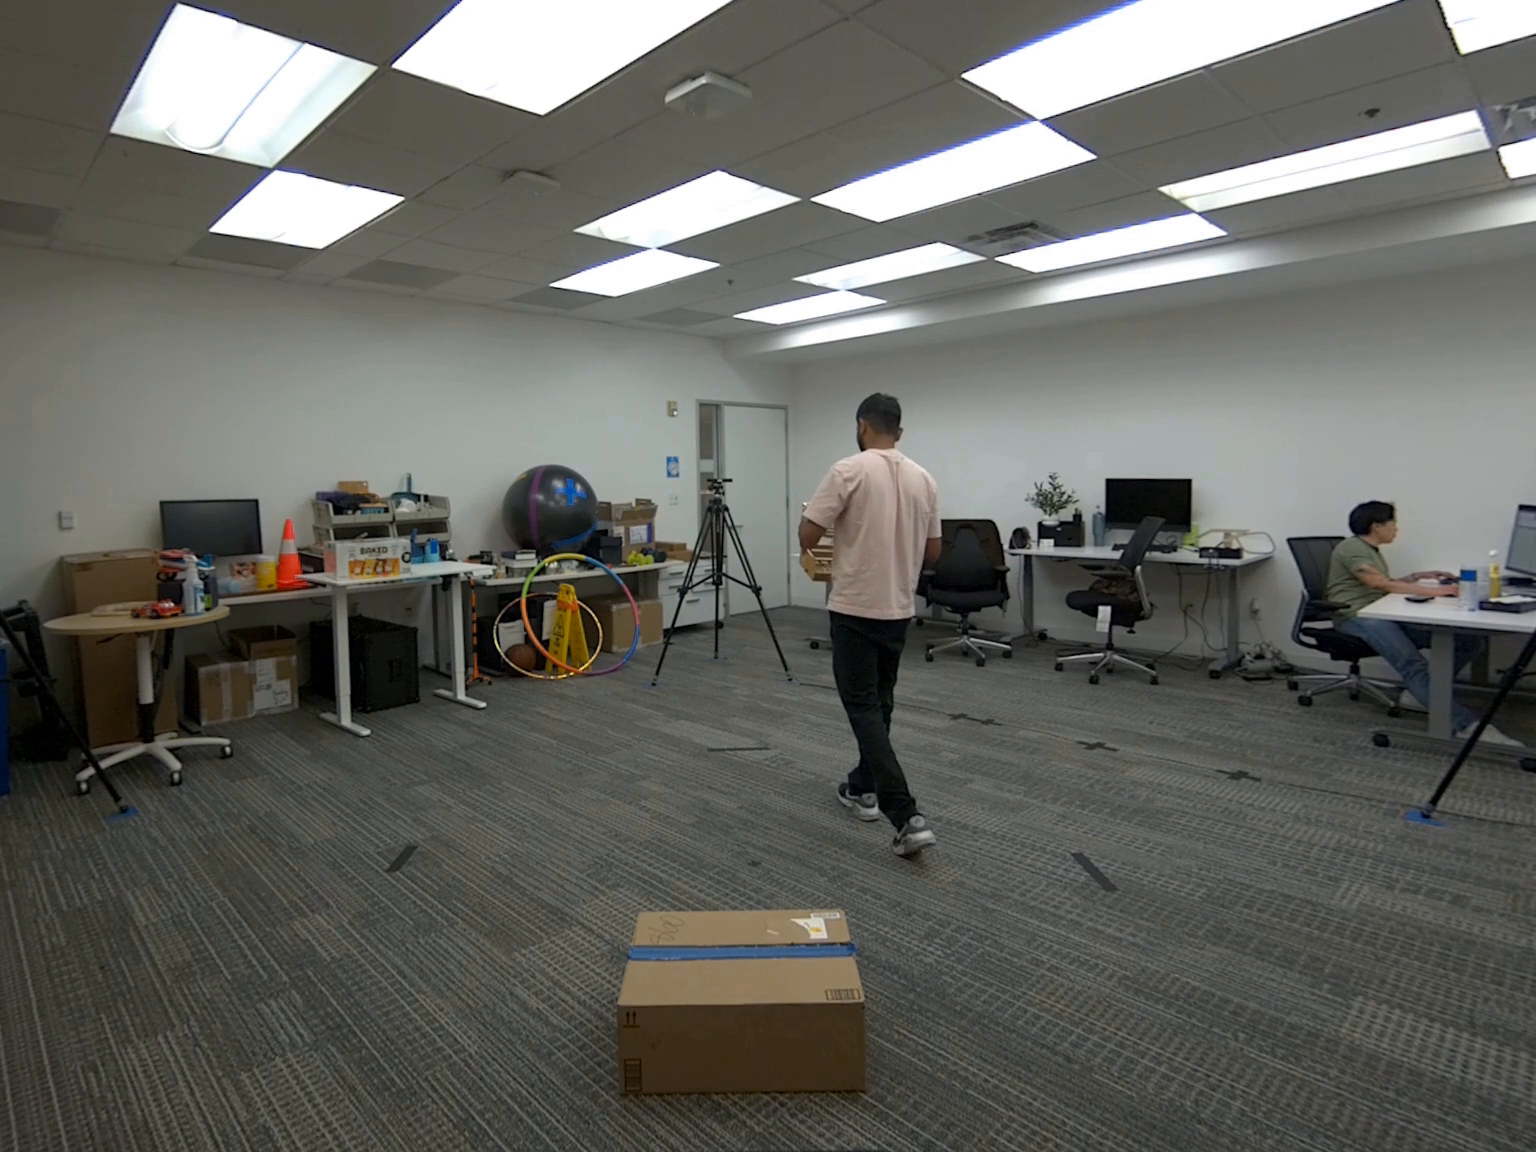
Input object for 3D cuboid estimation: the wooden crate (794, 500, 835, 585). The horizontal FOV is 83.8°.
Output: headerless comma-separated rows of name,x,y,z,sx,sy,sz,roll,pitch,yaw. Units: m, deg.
wooden crate,0.319,-0.145,3.621,0.321,0.270,0.309,2,17,-12
